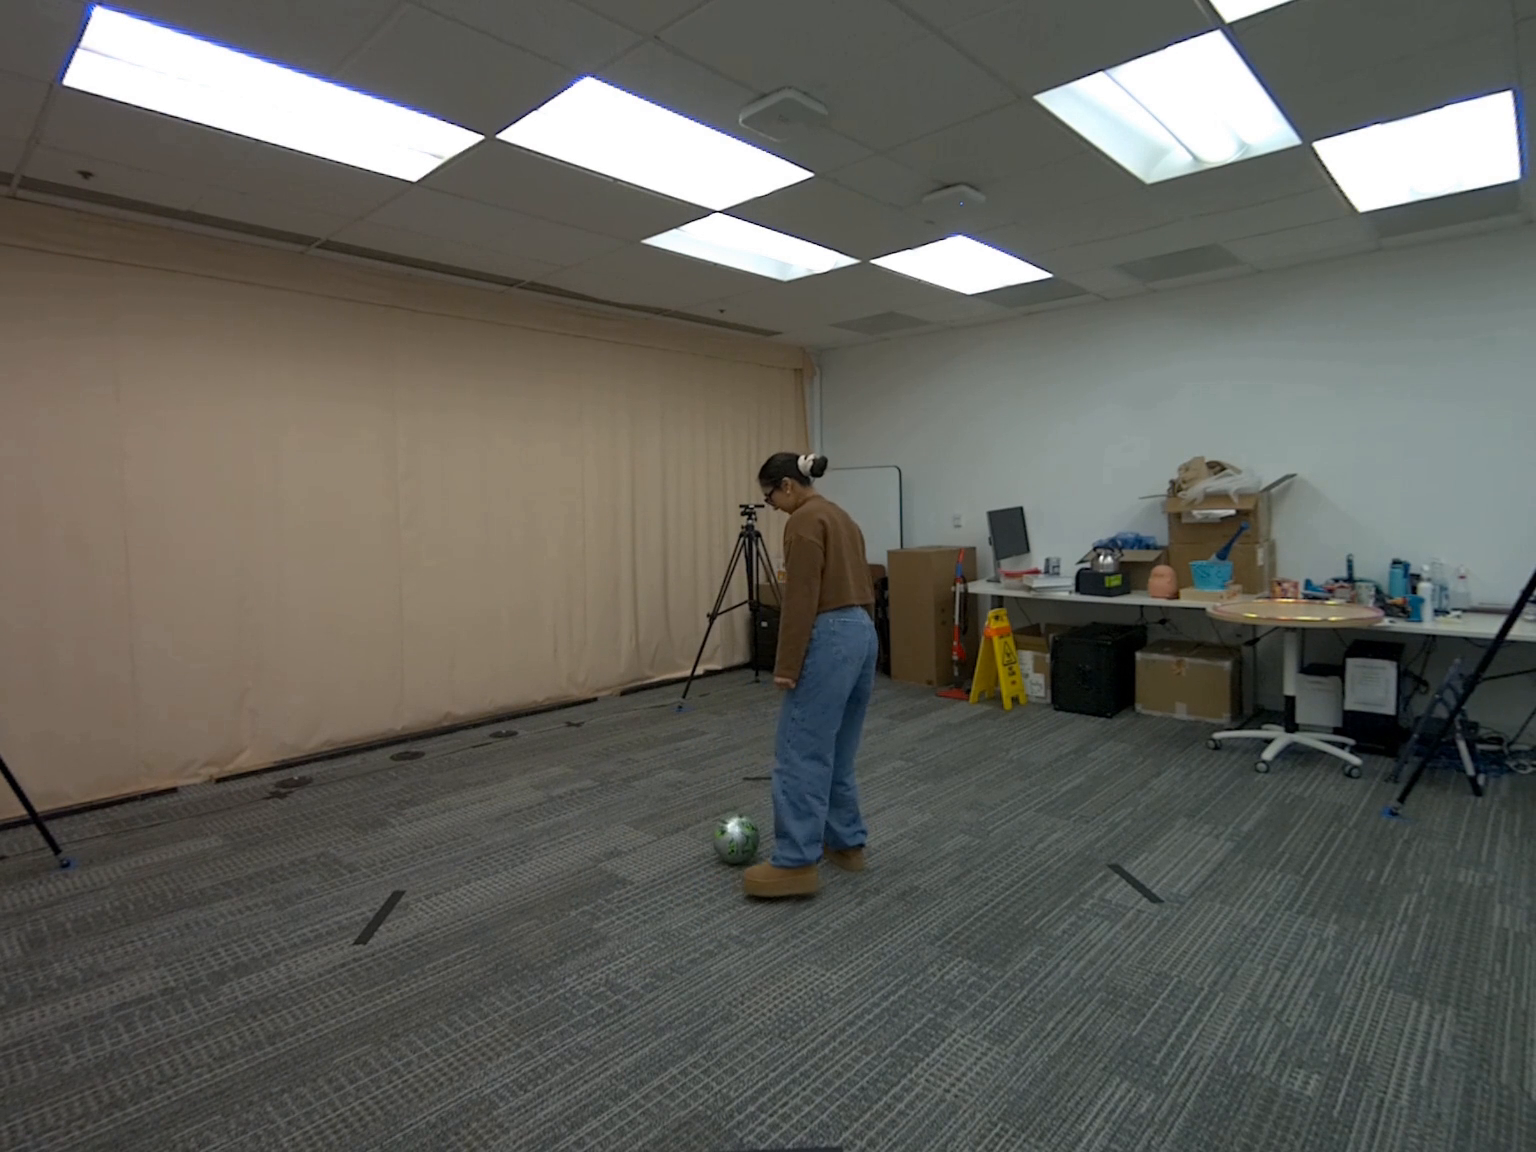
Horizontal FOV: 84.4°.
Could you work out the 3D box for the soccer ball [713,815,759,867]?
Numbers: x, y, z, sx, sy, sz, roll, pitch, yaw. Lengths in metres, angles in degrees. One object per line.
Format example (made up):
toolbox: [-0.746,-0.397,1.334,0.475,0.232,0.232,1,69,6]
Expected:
soccer ball: [-0.121,1.026,3.290,0.187,0.187,0.188,-1,4,-2]
